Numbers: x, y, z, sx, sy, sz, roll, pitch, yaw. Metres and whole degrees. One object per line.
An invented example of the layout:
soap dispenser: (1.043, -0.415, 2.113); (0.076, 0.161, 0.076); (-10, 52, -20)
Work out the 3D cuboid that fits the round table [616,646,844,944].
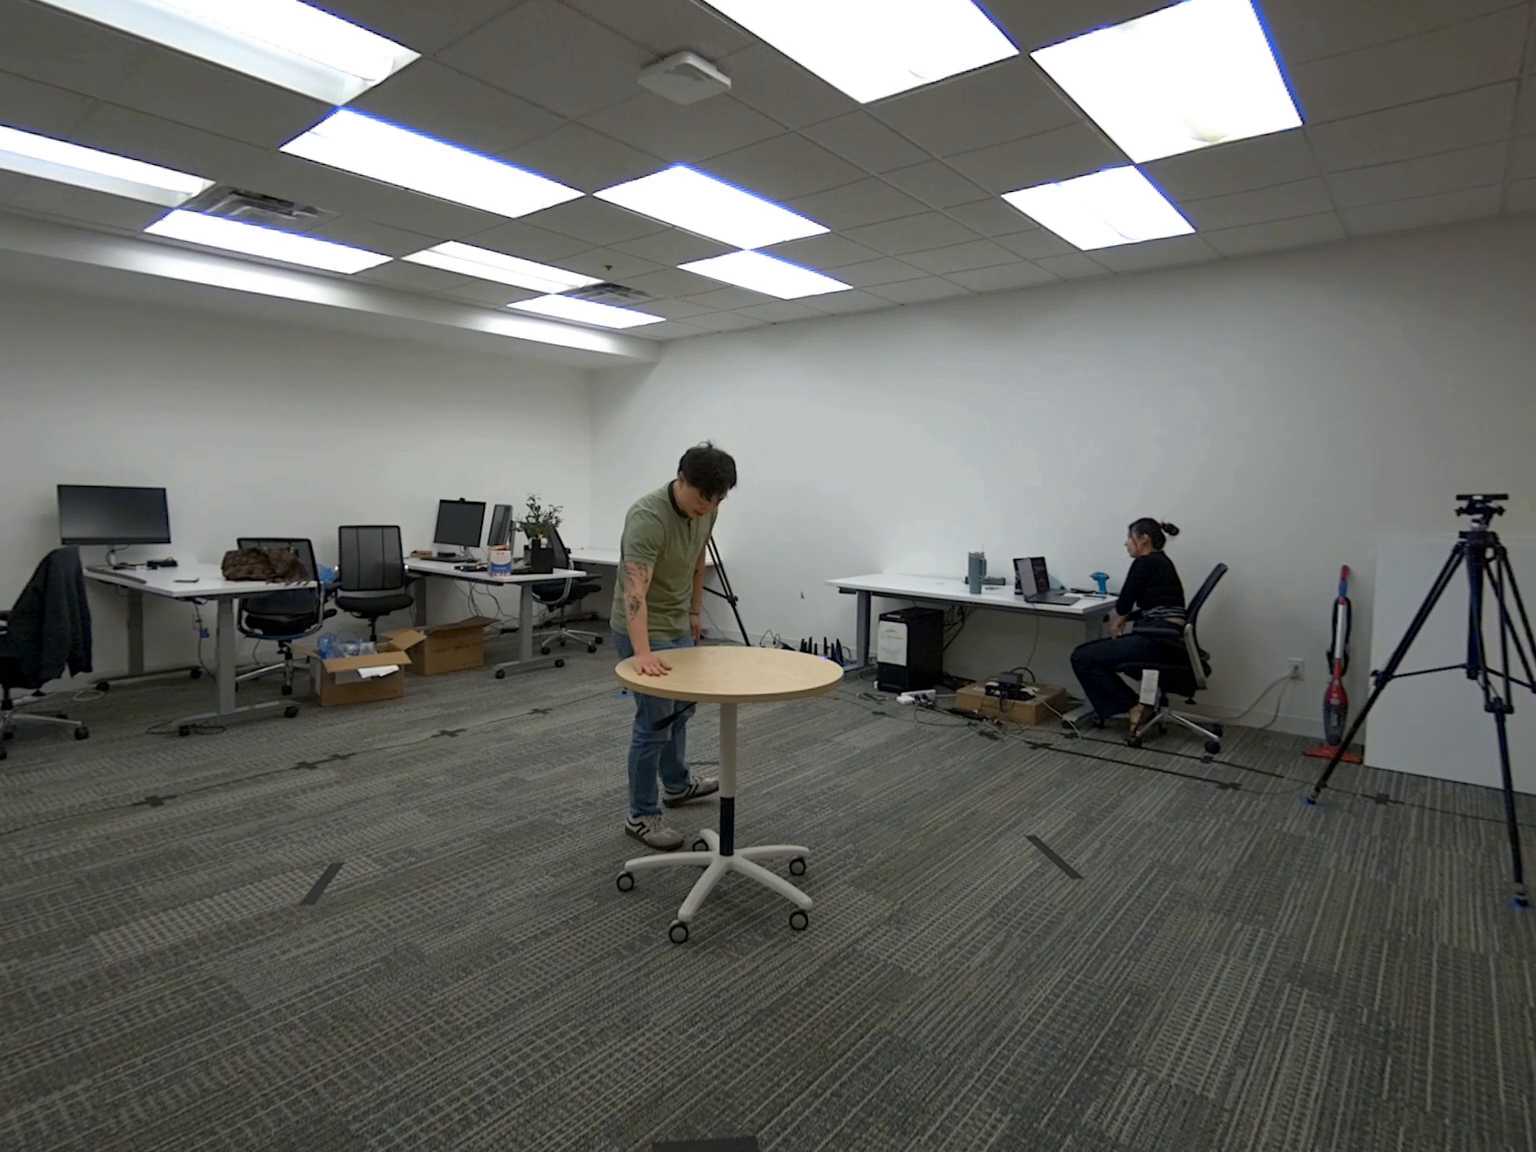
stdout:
round table: (-0.145, 0.700, 2.891); (0.763, 0.791, 0.768); (1, 4, -2)
